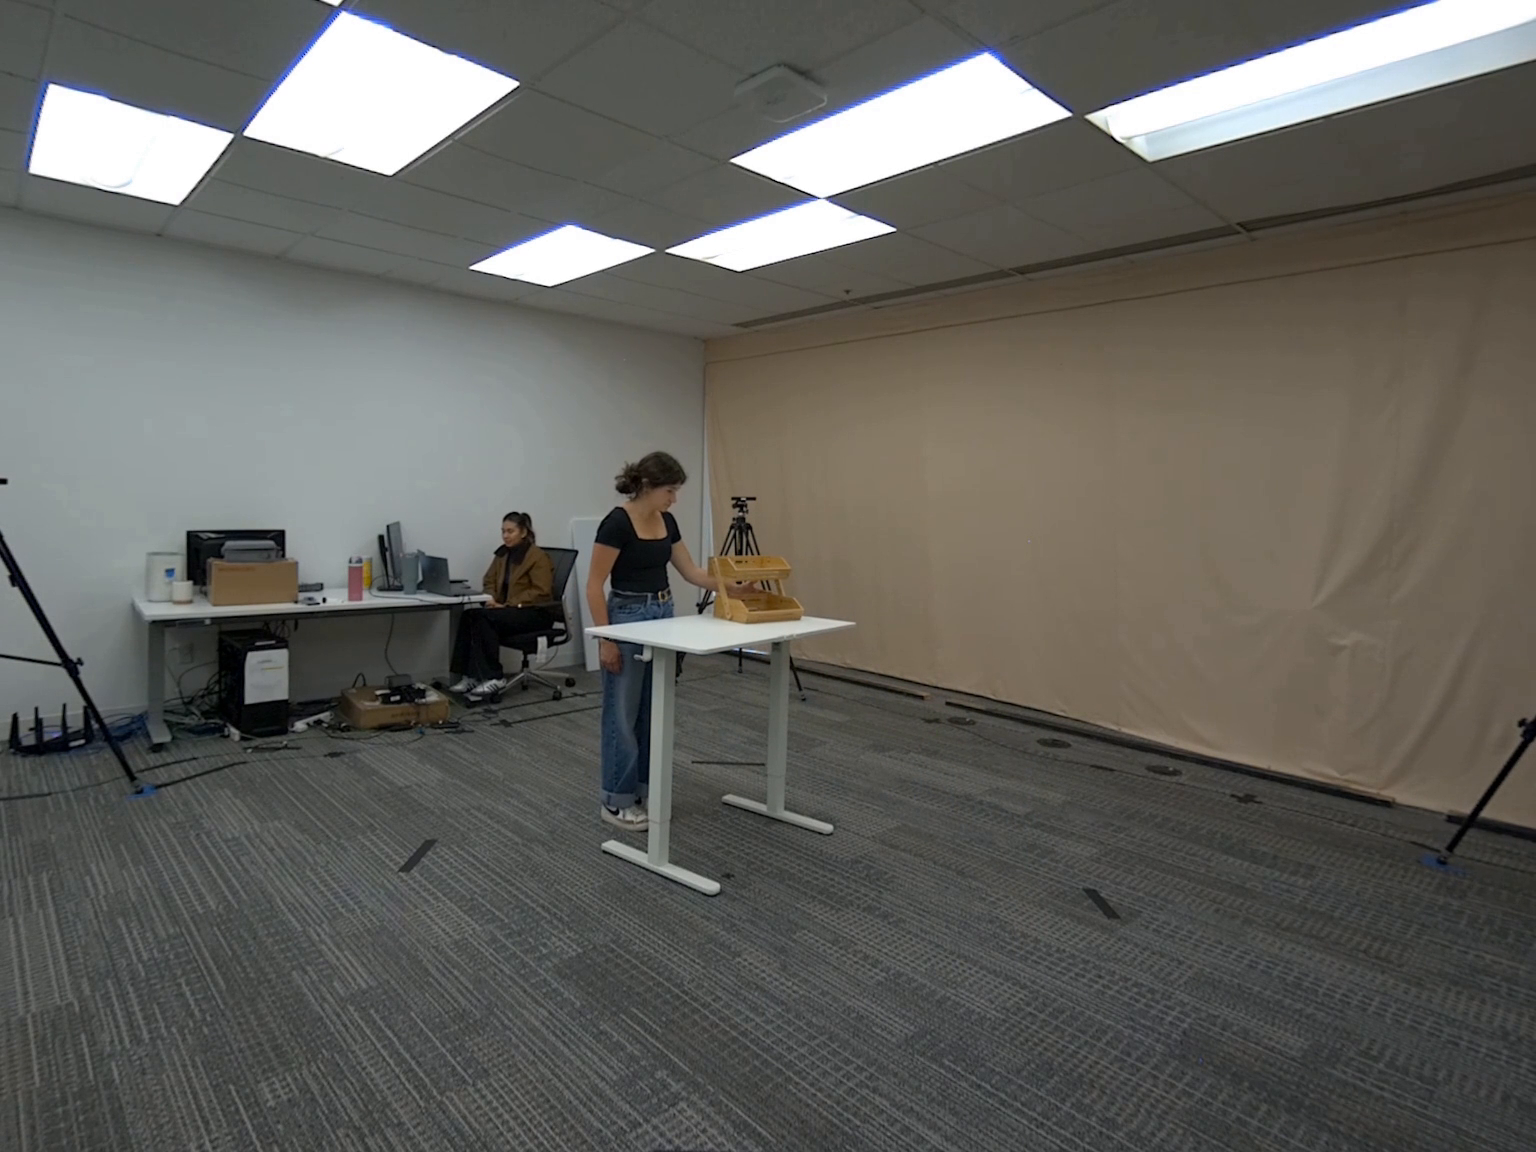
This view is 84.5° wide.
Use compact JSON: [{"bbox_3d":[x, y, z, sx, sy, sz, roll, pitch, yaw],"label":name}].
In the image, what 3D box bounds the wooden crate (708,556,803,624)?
[{"bbox_3d":[-0.065,0.047,3.636,0.317,0.273,0.309,-1,4,-38],"label":"wooden crate"}]
